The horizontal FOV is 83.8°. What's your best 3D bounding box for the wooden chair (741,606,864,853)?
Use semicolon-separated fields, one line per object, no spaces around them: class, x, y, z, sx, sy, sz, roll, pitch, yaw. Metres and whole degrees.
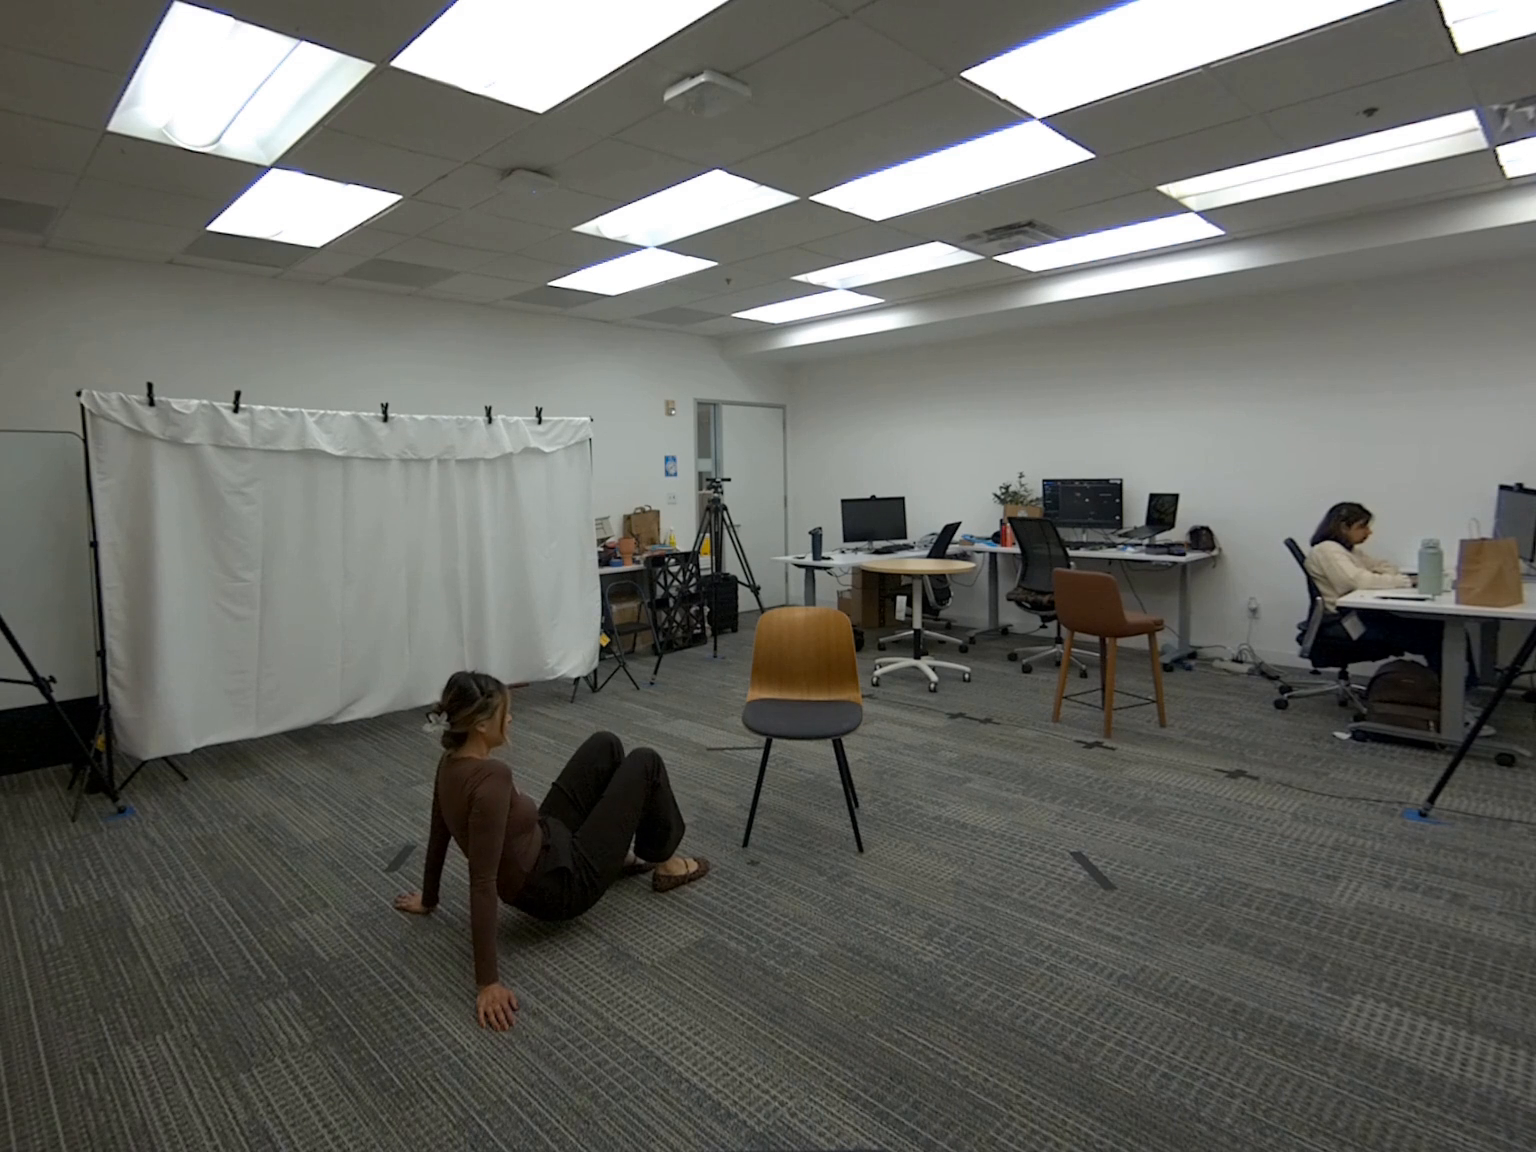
wooden chair;0.144;0.580;3.382;0.481;0.877;0.520;0;0;6
